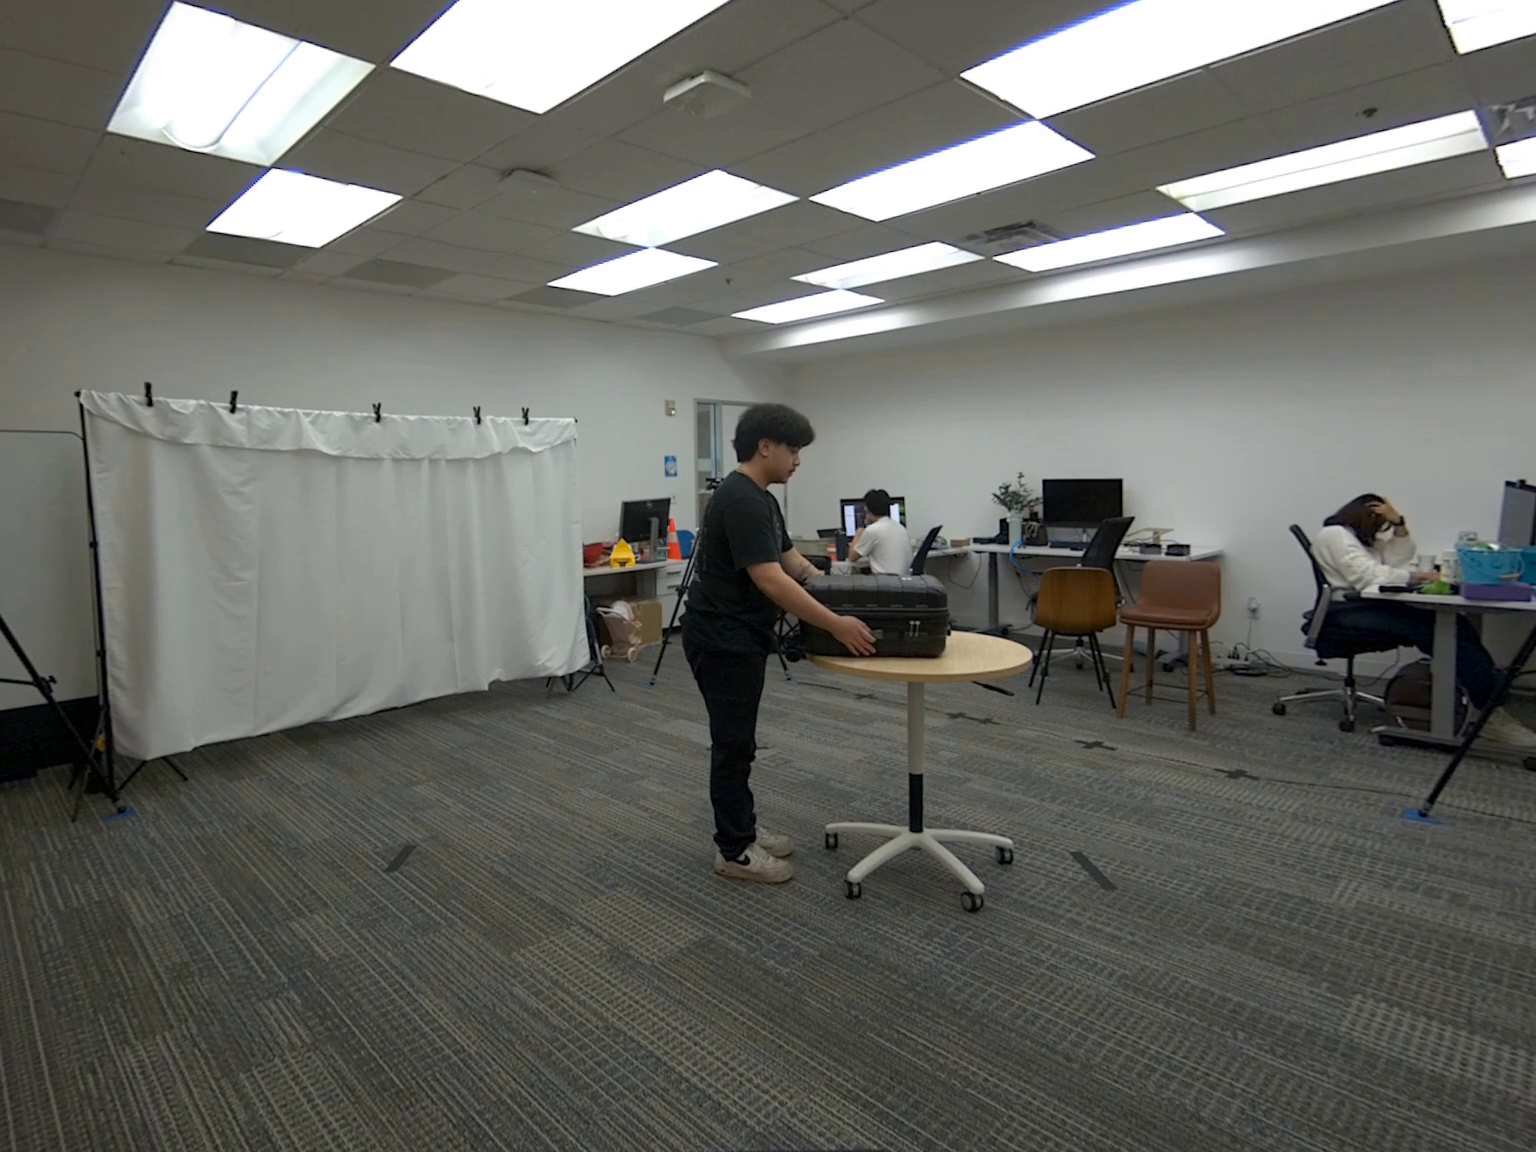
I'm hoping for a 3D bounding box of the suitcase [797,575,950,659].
[{"bbox_3d":[0.350,0.137,2.986,0.554,0.247,0.373,0,5,9],"label":"suitcase"}]
